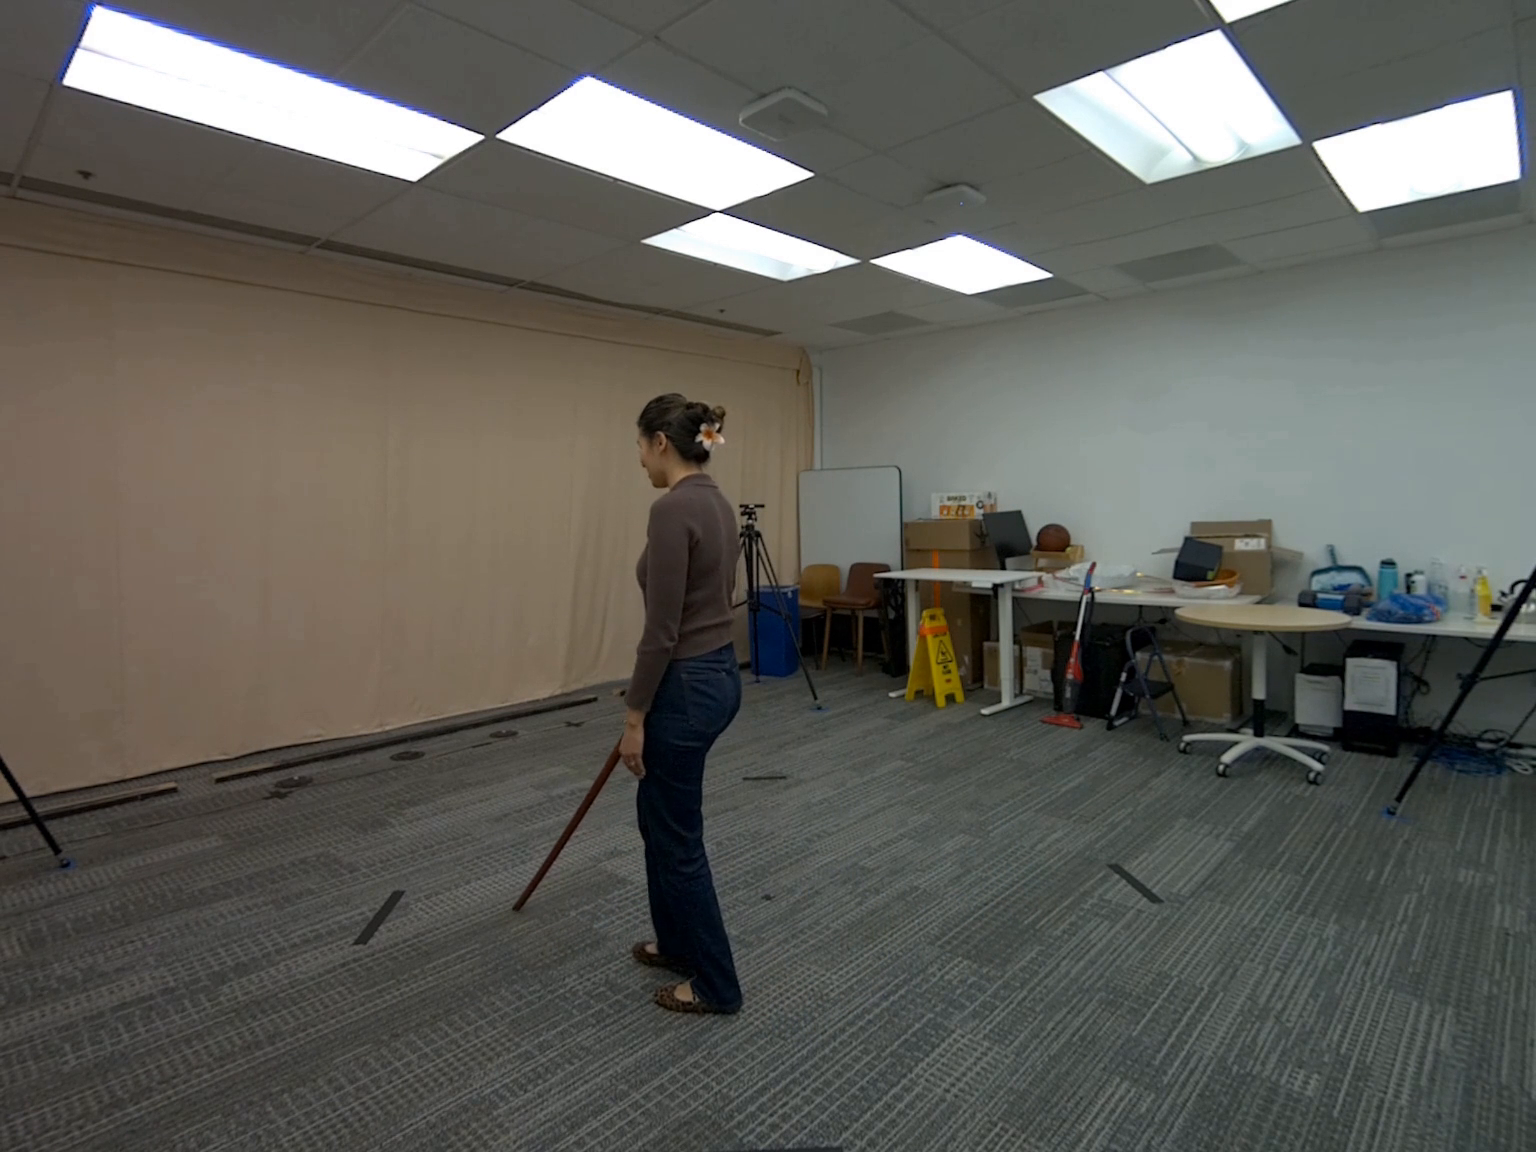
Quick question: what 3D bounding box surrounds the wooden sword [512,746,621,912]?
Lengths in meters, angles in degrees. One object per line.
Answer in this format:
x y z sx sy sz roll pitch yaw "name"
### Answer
-0.633 0.790 2.718 0.024 1.026 0.050 39 26 11 "wooden sword"
